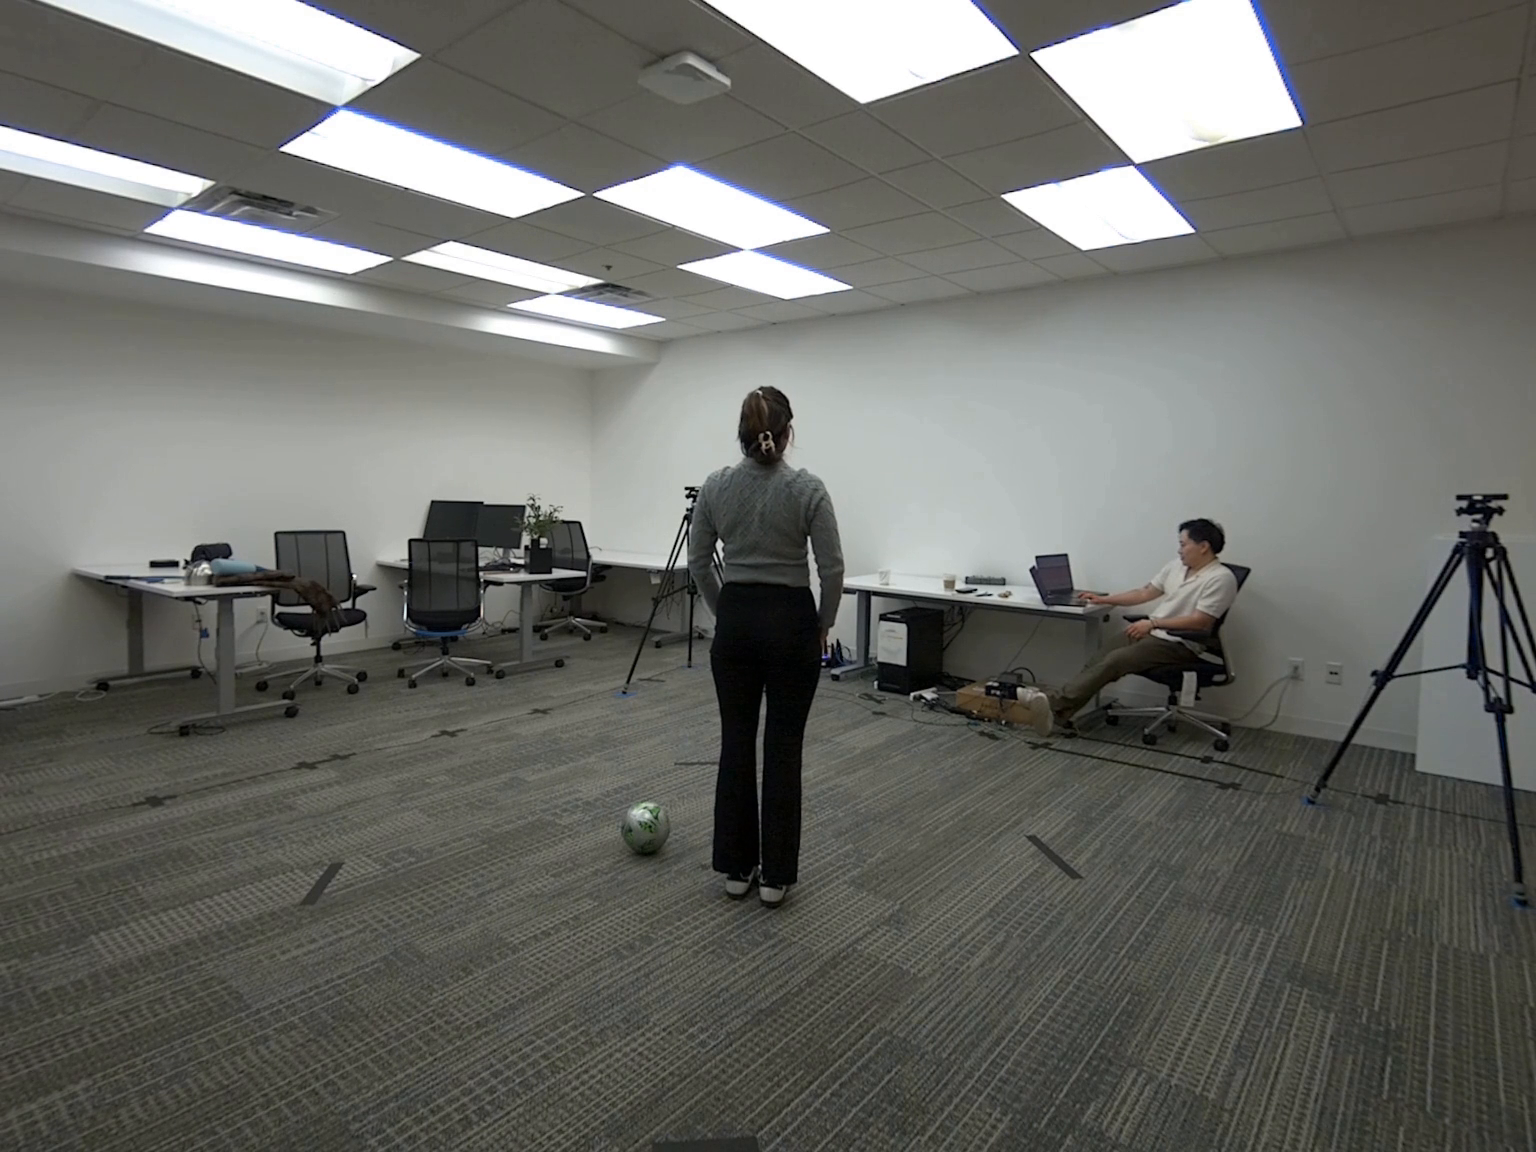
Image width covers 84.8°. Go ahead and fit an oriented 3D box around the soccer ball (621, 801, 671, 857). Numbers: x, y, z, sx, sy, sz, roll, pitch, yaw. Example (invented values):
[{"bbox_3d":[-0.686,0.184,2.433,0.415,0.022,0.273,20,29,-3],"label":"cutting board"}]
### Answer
[{"bbox_3d":[-0.474,0.951,3.239,0.187,0.187,0.188,1,4,-2],"label":"soccer ball"}]
